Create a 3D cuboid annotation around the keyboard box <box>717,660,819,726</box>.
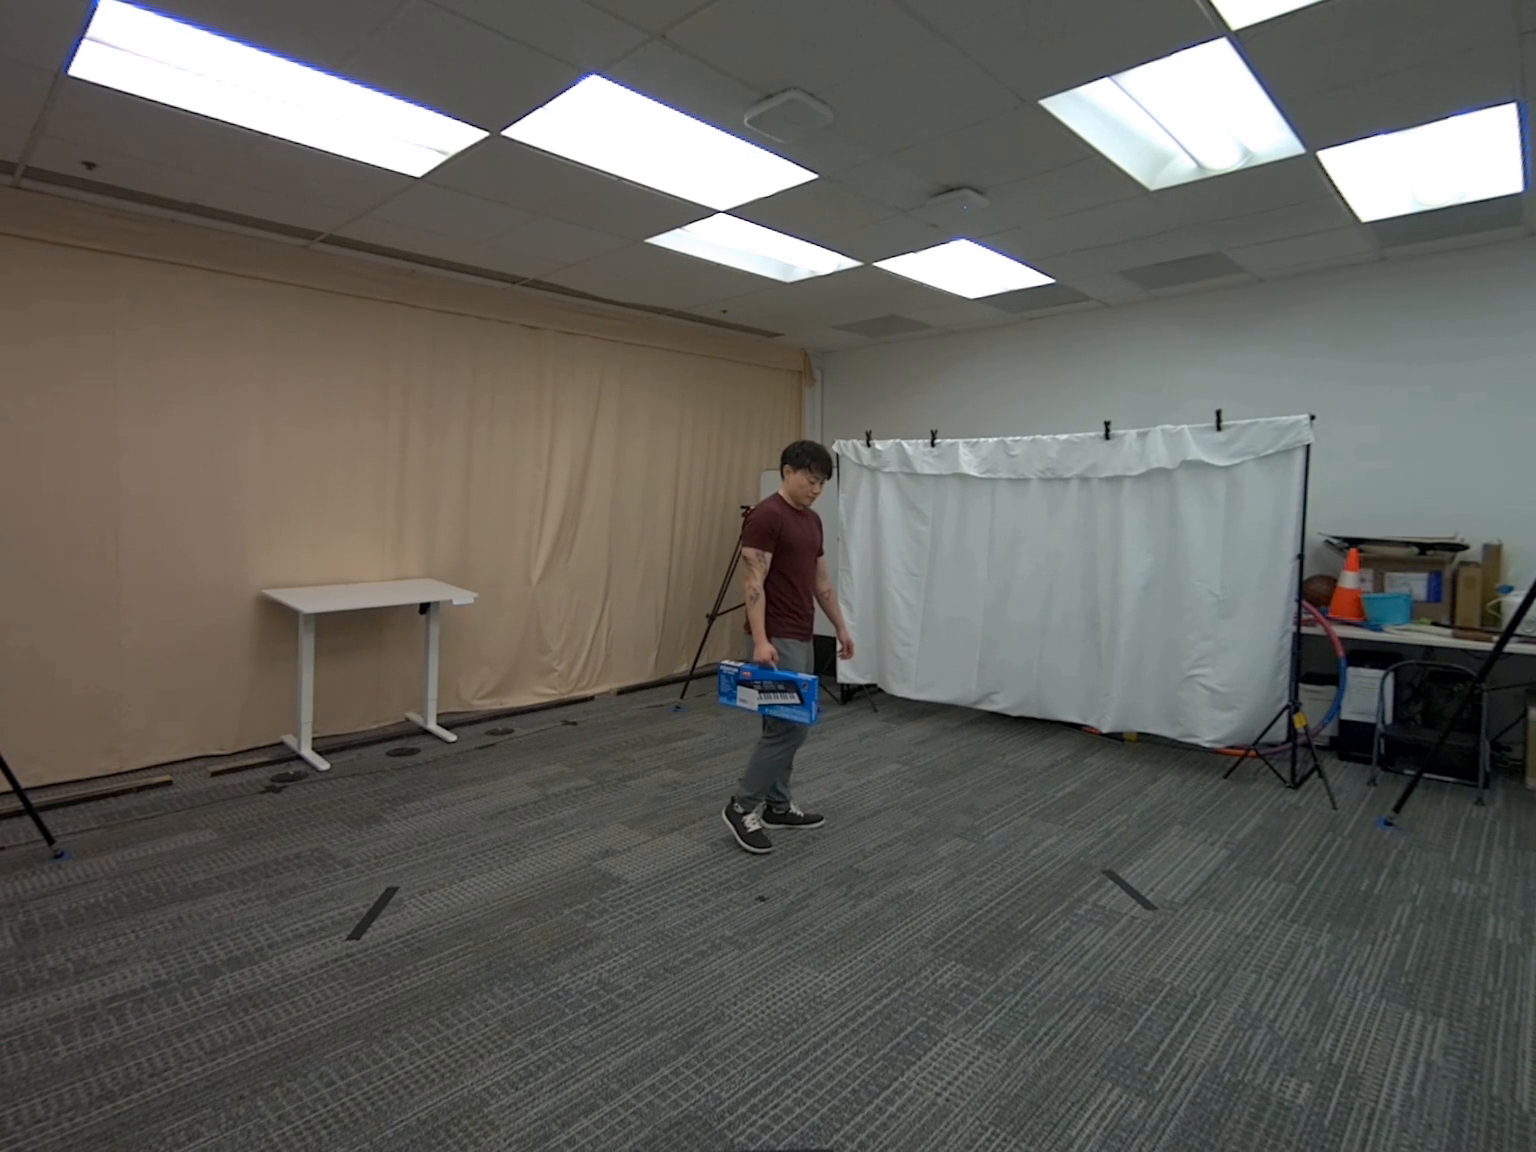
[{"bbox_3d":[-0.005,0.451,3.302,0.451,0.175,0.057,7,10,36],"label":"keyboard box"}]
